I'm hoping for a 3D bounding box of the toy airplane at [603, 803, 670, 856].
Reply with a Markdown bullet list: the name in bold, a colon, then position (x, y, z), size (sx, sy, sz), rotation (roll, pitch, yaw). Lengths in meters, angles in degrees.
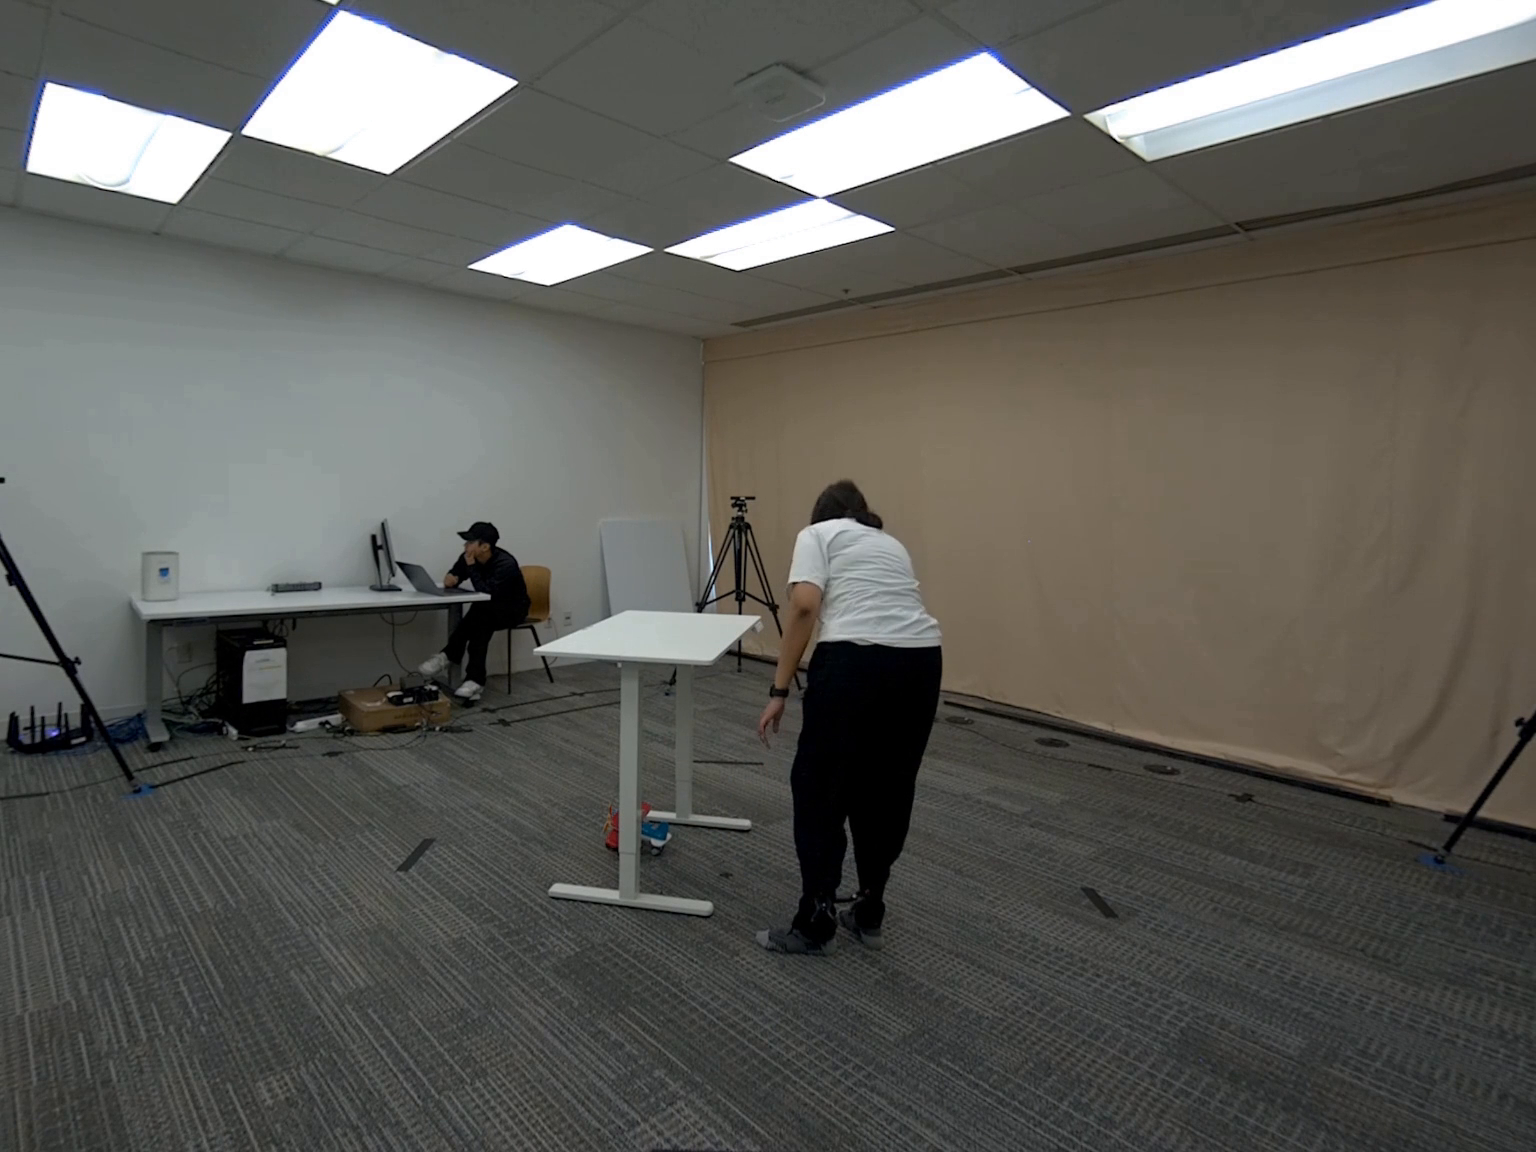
- **toy airplane**: position (-0.522, 1.002, 3.324), size (0.257, 0.156, 0.254), rotation (-1, 5, -9)
